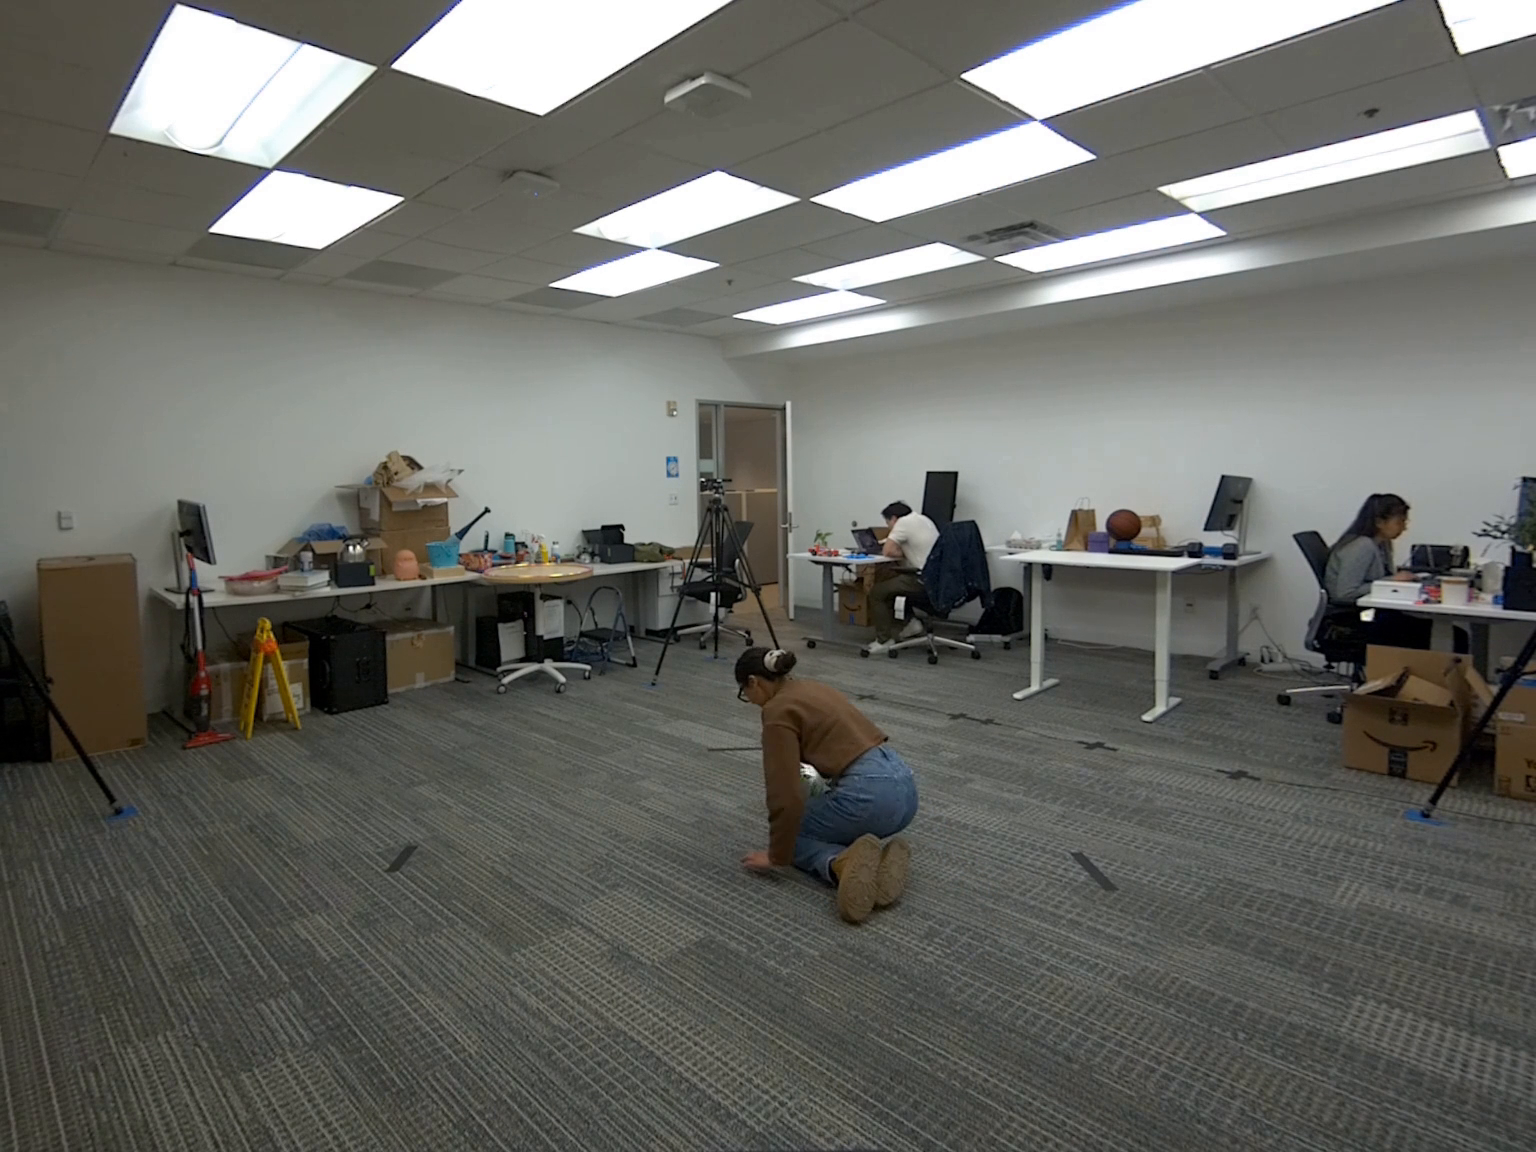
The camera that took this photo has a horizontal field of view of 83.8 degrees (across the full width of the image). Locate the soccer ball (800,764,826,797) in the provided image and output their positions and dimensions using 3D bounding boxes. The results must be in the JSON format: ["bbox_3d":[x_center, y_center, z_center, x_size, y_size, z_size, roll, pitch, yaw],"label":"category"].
[{"bbox_3d":[0.156,0.886,3.657,0.187,0.187,0.188,-1,5,-2],"label":"soccer ball"}]
